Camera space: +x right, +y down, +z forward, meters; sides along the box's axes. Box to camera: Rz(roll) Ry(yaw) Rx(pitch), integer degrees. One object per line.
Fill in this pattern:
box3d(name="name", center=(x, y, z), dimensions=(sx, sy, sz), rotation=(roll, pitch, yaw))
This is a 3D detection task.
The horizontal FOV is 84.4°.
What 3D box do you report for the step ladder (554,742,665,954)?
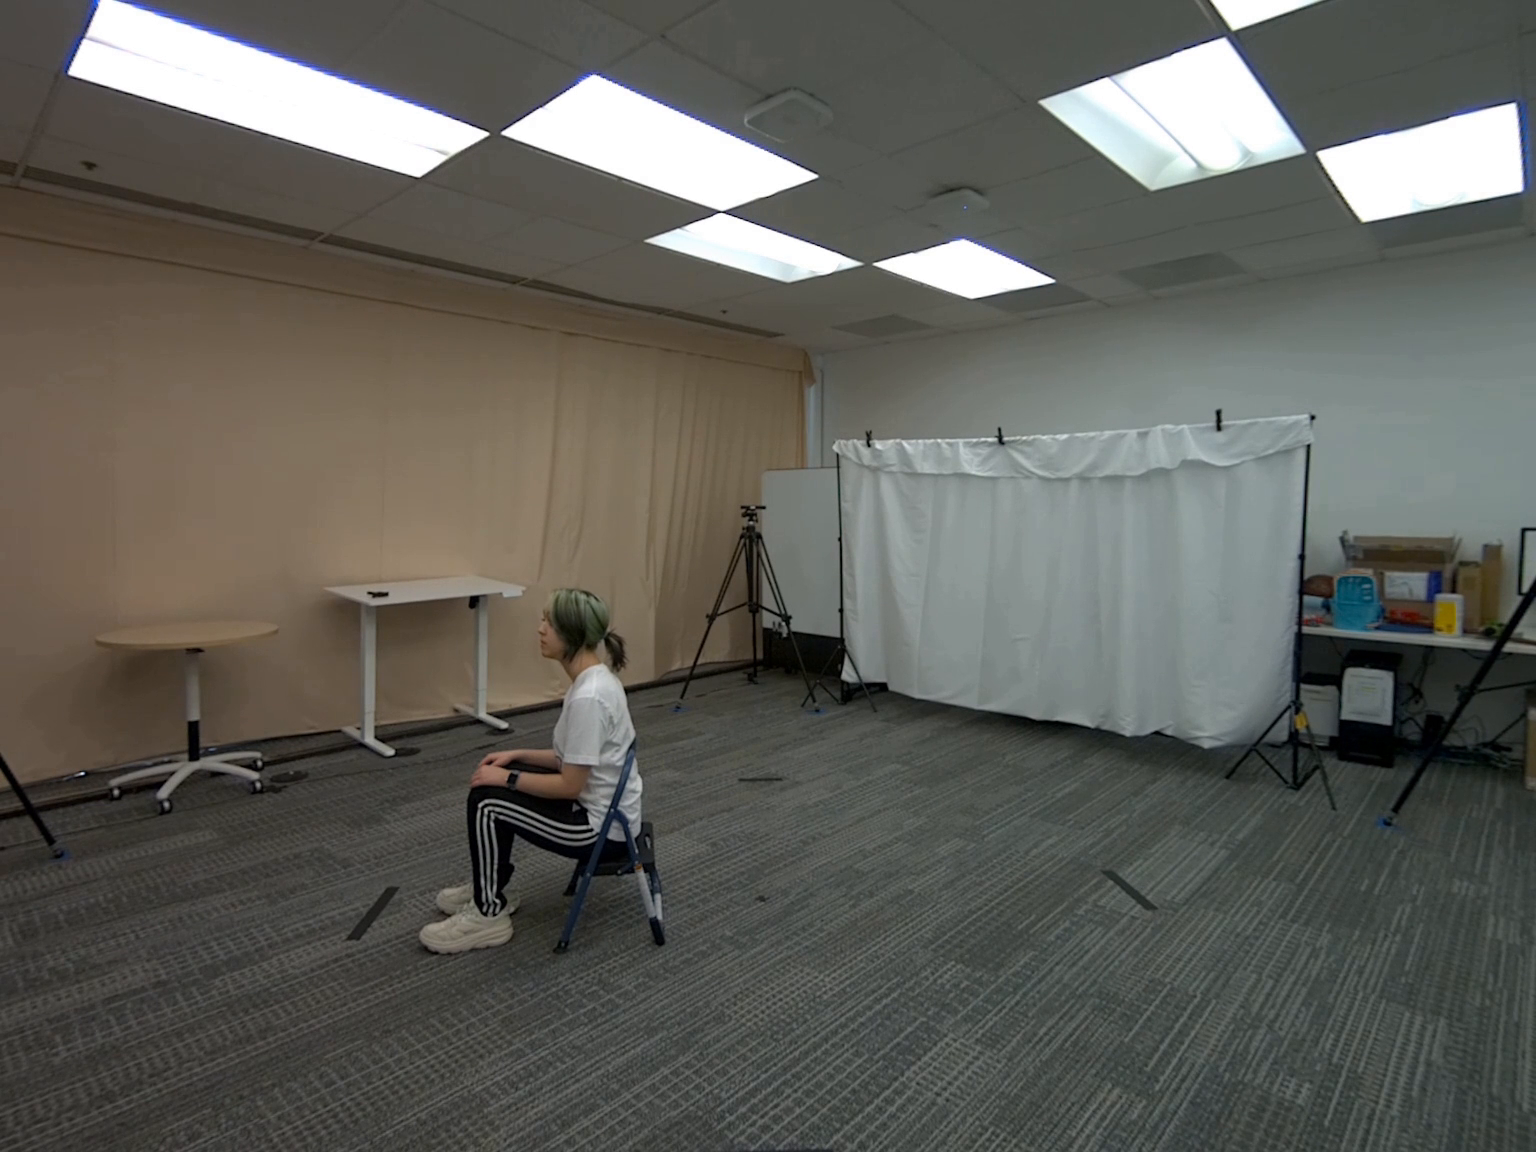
box3d(name="step ladder", center=(-0.530, 0.865, 2.833), dimensions=(0.347, 0.605, 0.435), rotation=(-2, 3, -8))
